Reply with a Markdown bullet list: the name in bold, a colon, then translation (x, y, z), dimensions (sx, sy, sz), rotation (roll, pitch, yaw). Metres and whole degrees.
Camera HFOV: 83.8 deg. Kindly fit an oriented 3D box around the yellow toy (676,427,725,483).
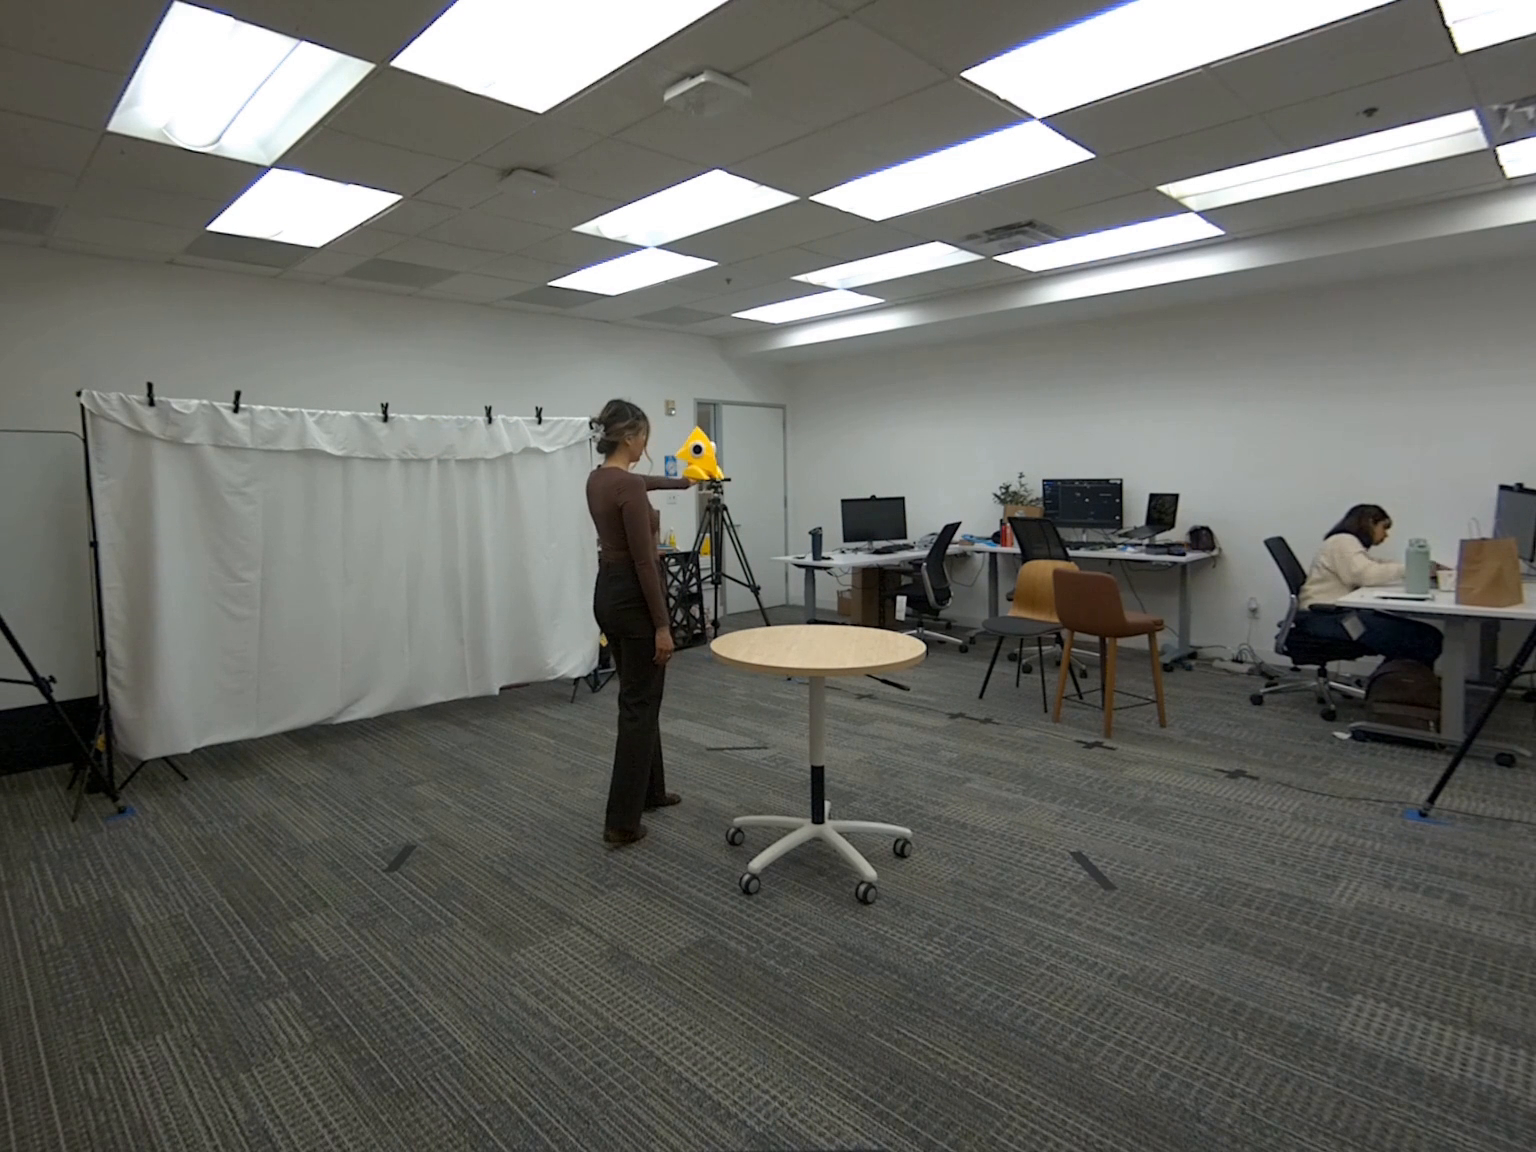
- **yellow toy**: translation (-0.307, -0.587, 4.062), dimensions (0.199, 0.229, 0.200), rotation (15, 13, 34)
